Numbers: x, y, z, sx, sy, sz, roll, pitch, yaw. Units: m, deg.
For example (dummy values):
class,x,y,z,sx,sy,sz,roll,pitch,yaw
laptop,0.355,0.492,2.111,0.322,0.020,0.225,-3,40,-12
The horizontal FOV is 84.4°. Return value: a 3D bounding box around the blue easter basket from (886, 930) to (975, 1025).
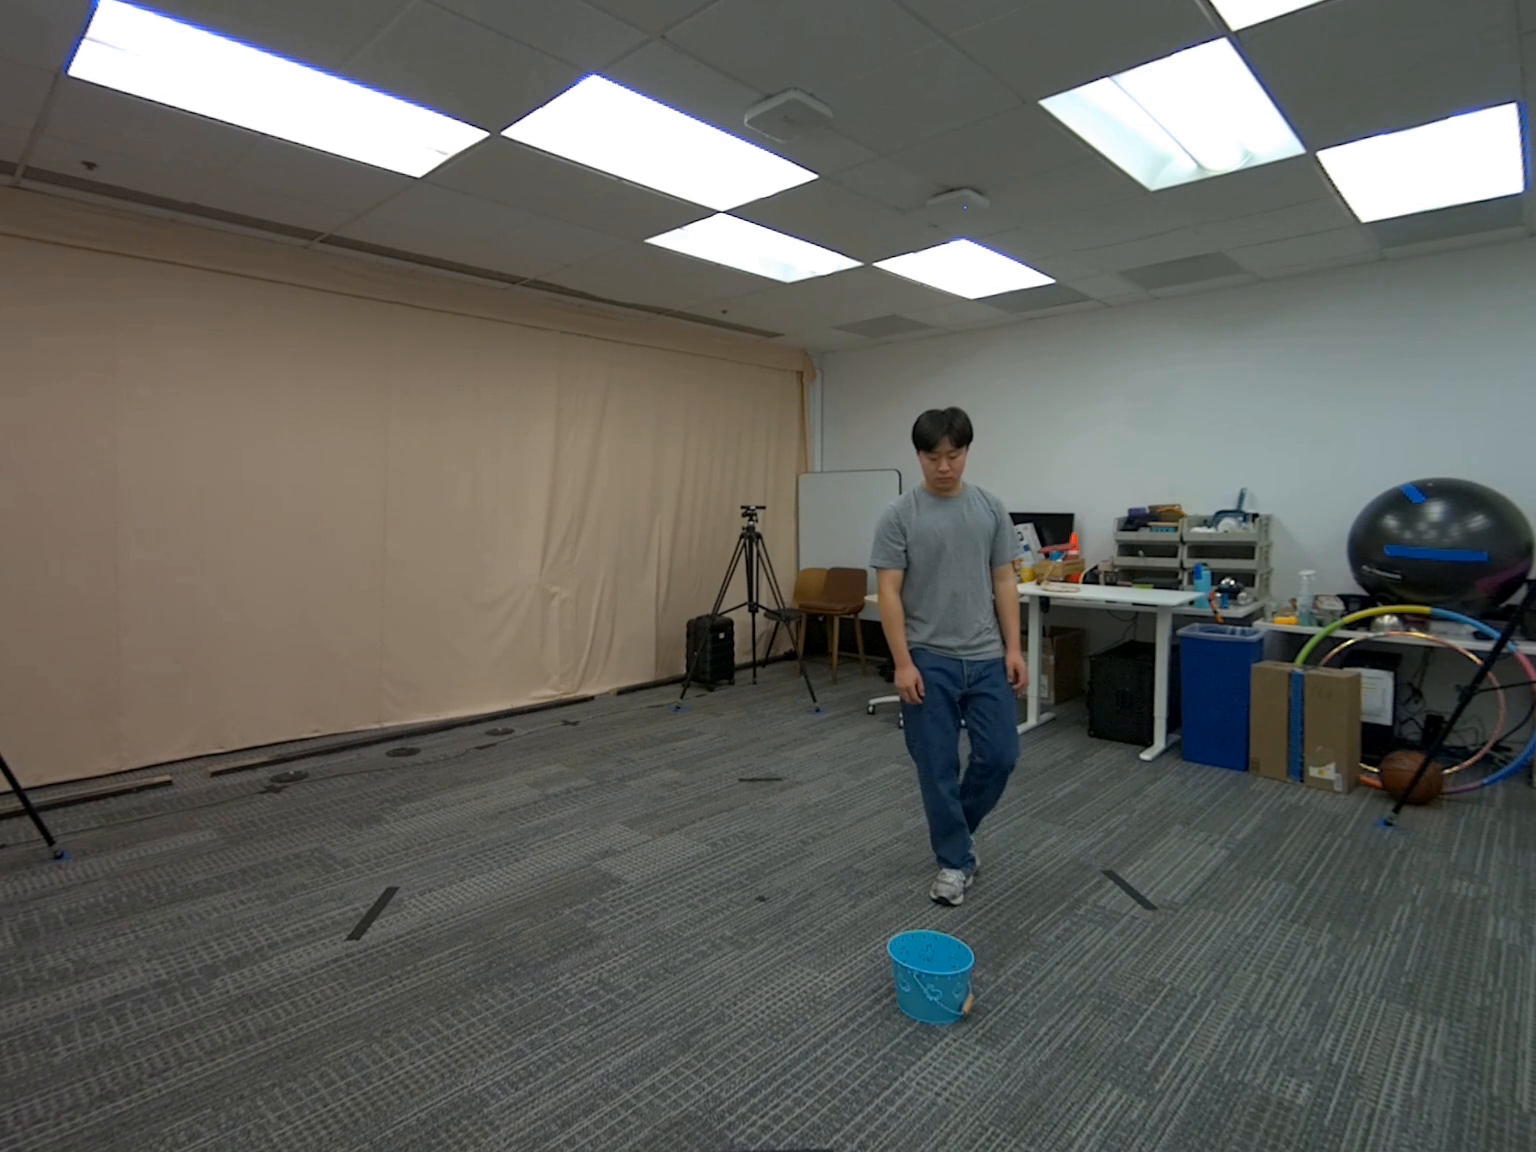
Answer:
class,x,y,z,sx,sy,sz,roll,pitch,yaw
blue easter basket,0.460,1.118,2.338,0.243,0.155,0.244,0,4,-2
